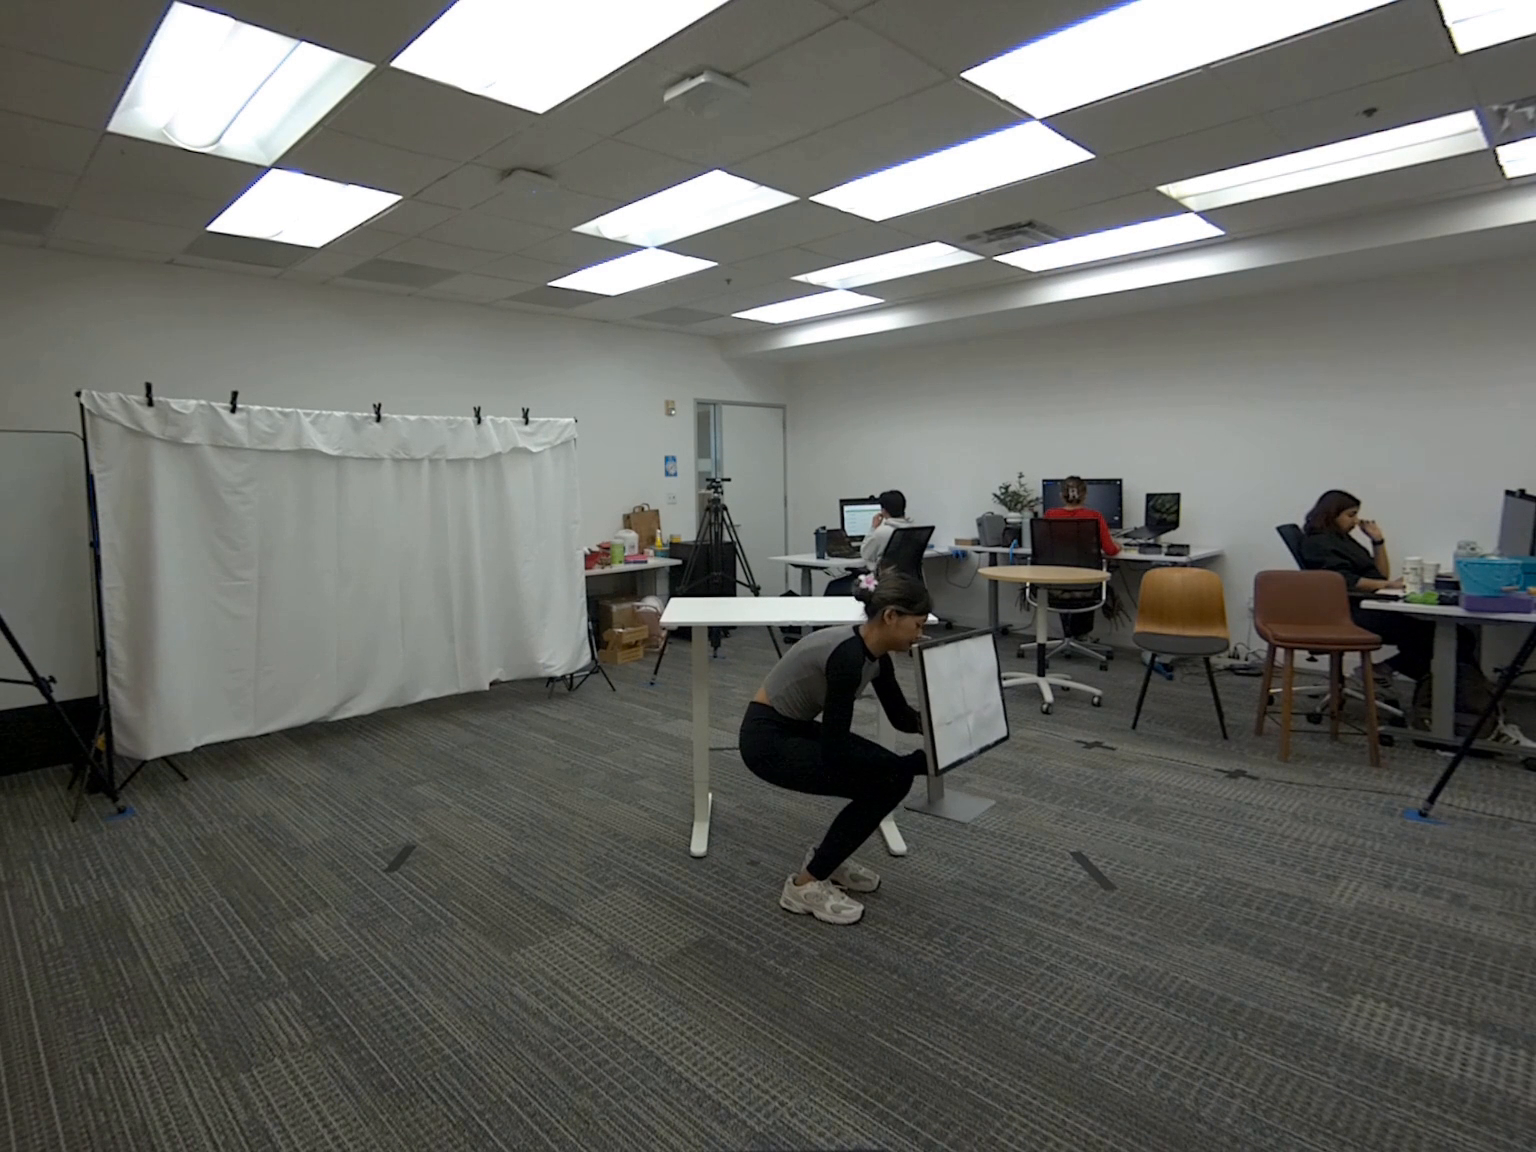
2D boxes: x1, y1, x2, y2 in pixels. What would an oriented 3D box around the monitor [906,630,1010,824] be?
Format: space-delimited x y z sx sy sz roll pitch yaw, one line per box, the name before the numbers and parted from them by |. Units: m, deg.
monitor | 0.559 0.450 2.593 0.192 0.522 0.524 4 3 35
